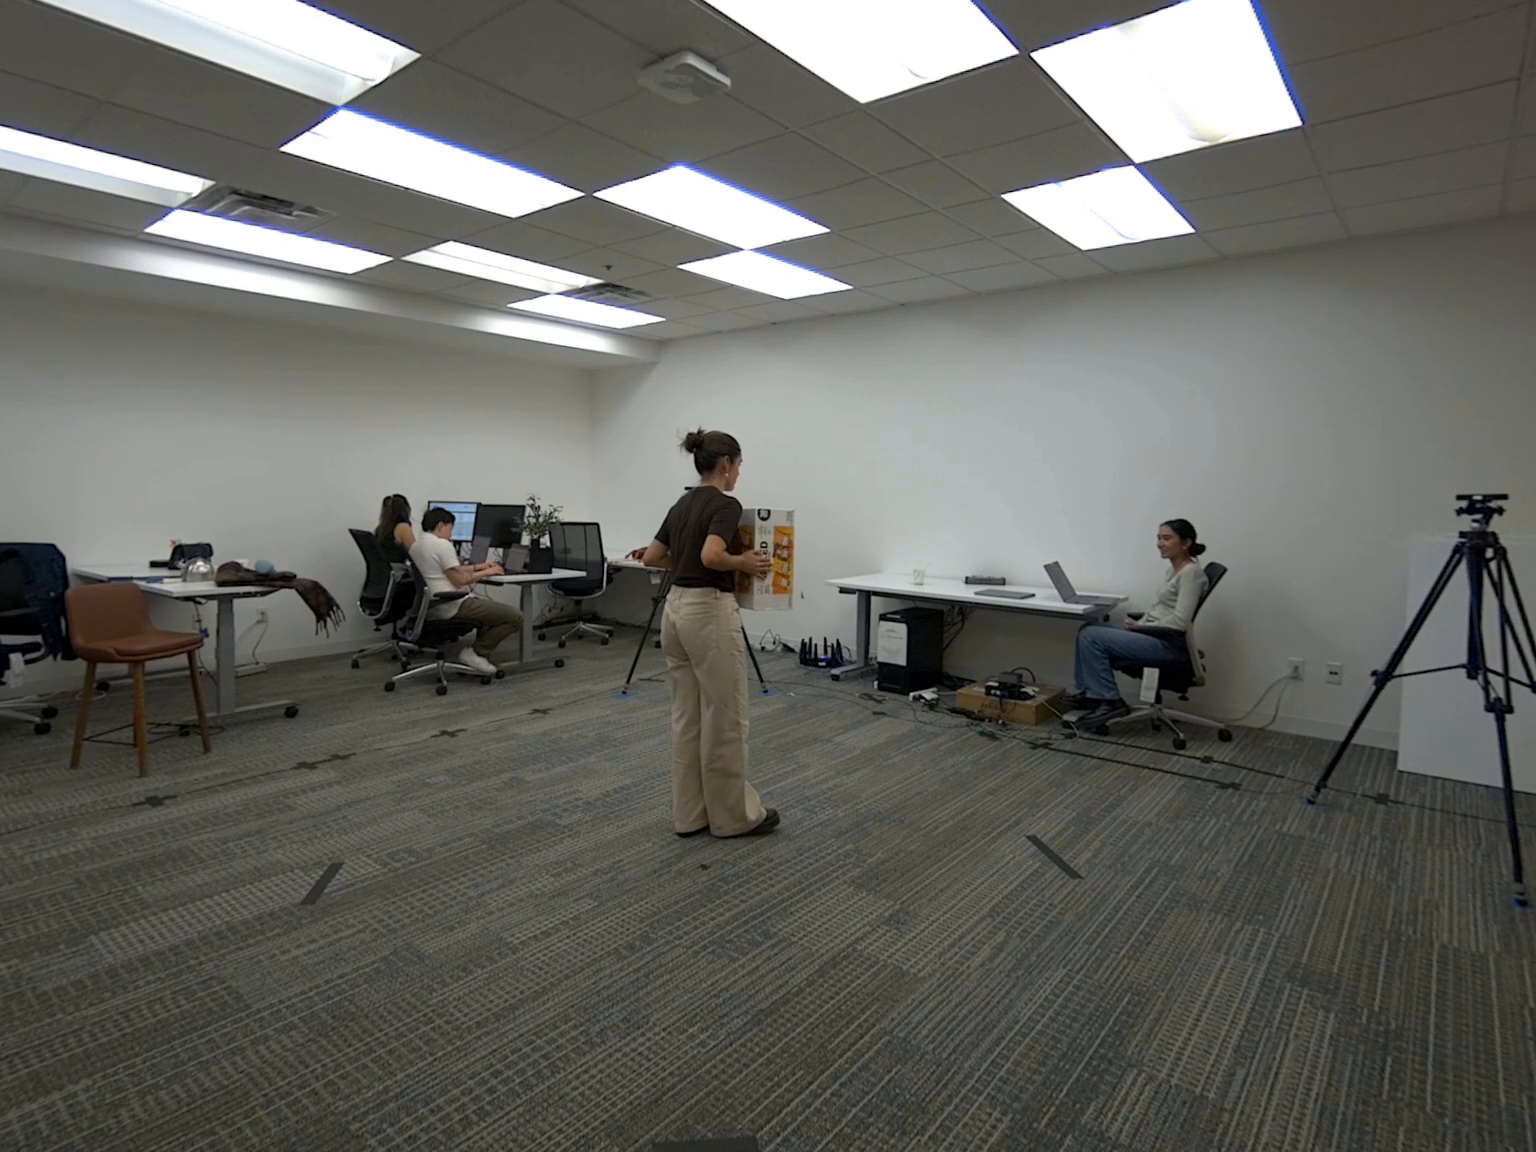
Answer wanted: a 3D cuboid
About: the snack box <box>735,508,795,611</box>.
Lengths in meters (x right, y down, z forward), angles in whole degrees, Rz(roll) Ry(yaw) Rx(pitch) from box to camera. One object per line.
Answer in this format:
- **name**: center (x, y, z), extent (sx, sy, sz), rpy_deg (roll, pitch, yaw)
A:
- **snack box**: center (-0.084, -0.080, 3.550), extent (0.199, 0.405, 0.351), rpy_deg (1, 1, -35)
